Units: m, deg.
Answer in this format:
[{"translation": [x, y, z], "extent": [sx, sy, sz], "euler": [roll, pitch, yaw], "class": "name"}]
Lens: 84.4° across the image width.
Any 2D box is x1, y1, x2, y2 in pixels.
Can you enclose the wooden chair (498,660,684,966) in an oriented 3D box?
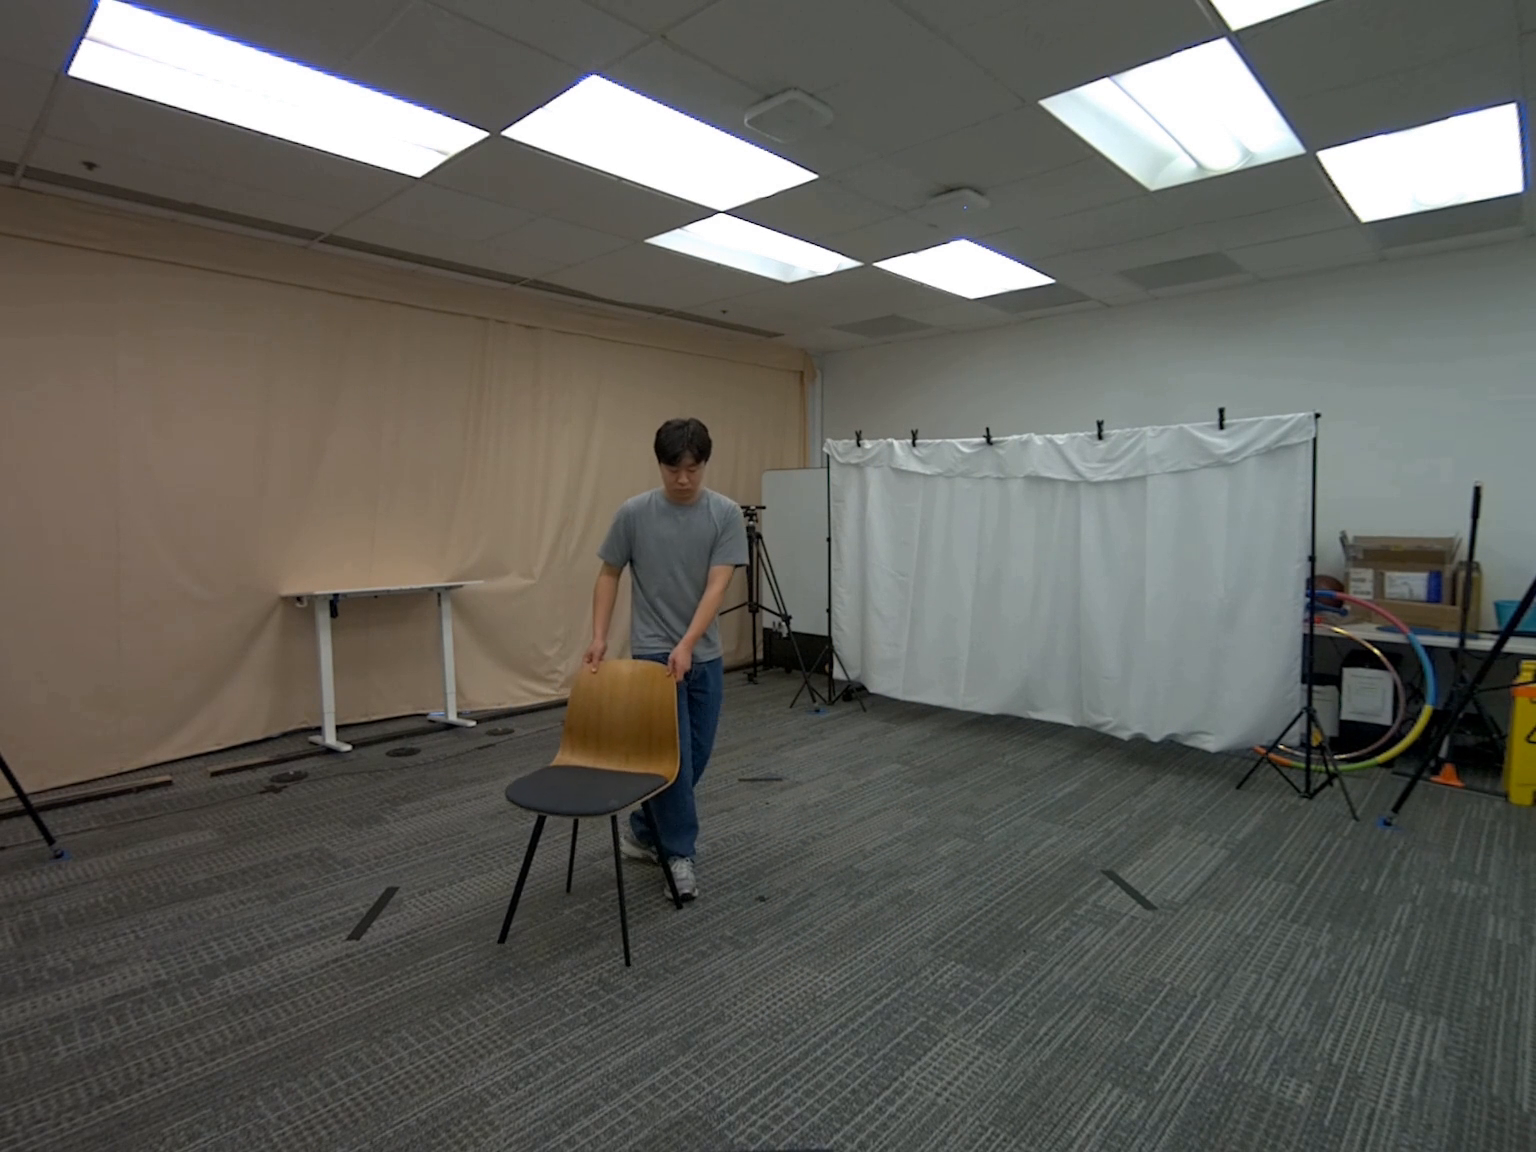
[{"translation": [-0.555, 0.726, 2.760], "extent": [0.487, 0.880, 0.512], "euler": [1, -5, 17], "class": "wooden chair"}]
